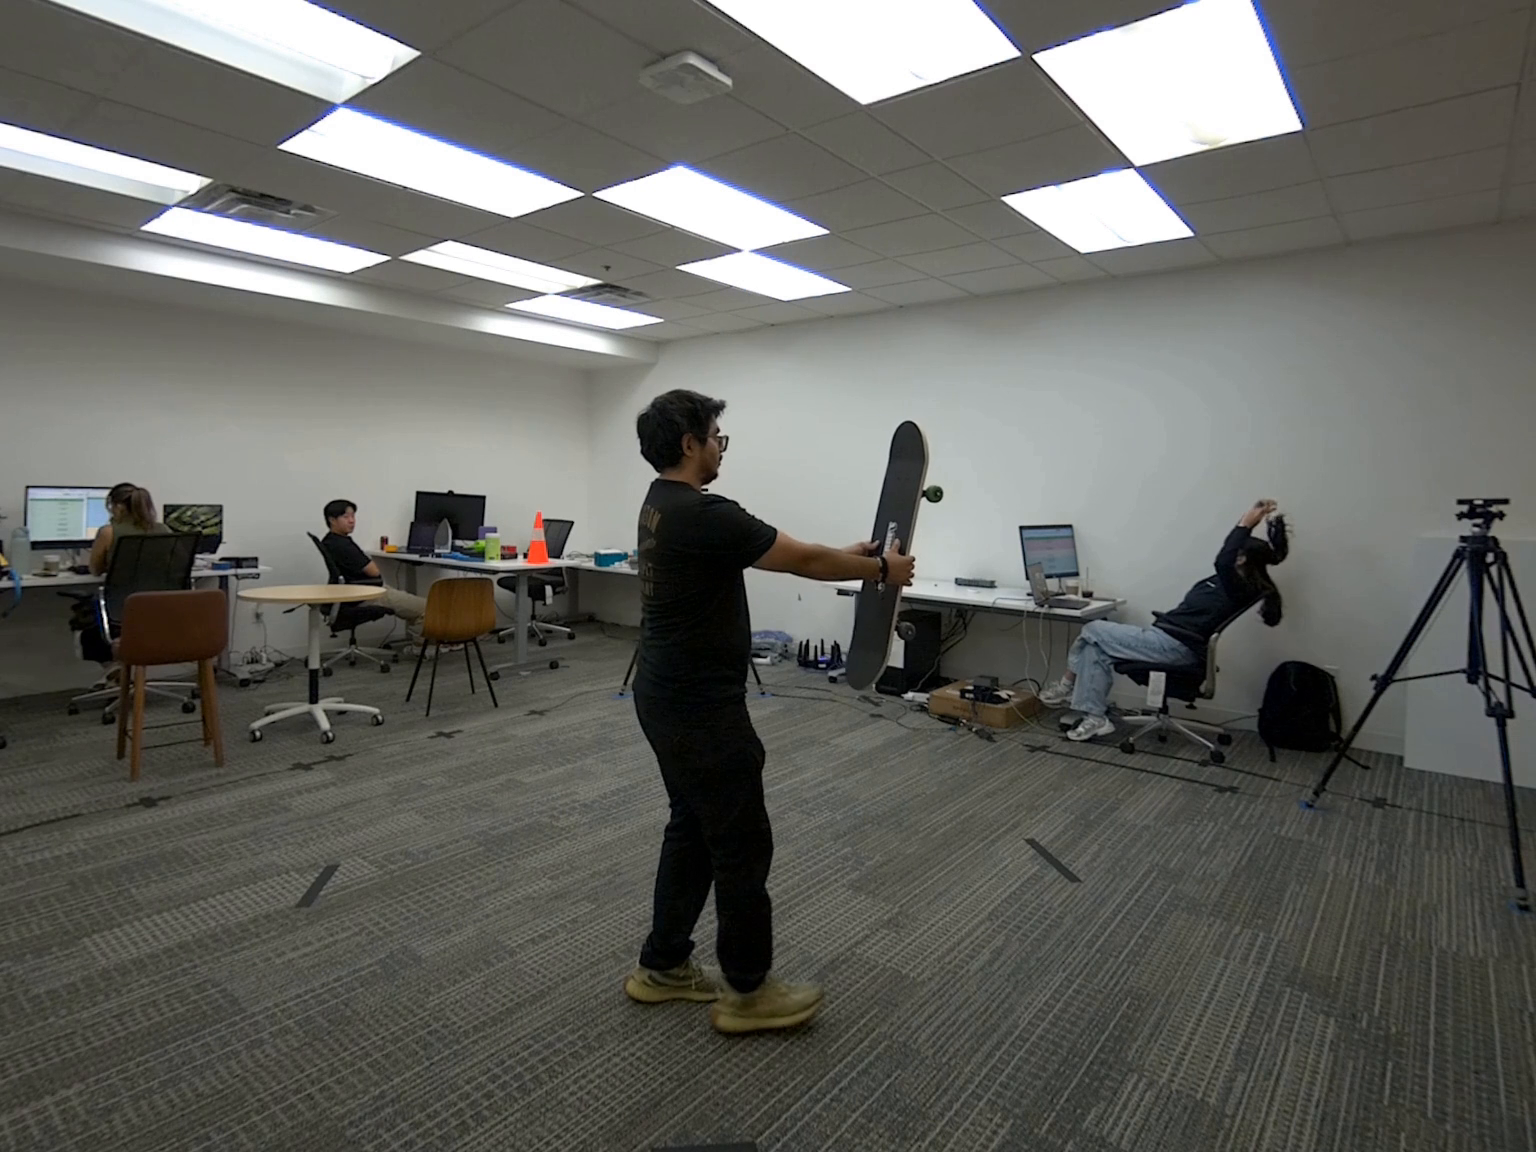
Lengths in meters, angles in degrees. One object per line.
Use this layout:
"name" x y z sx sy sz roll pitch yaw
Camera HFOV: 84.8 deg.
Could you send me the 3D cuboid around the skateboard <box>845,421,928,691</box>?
"skateboard" 0.367 -0.053 2.463 0.107 0.784 0.199 11 2 -25
